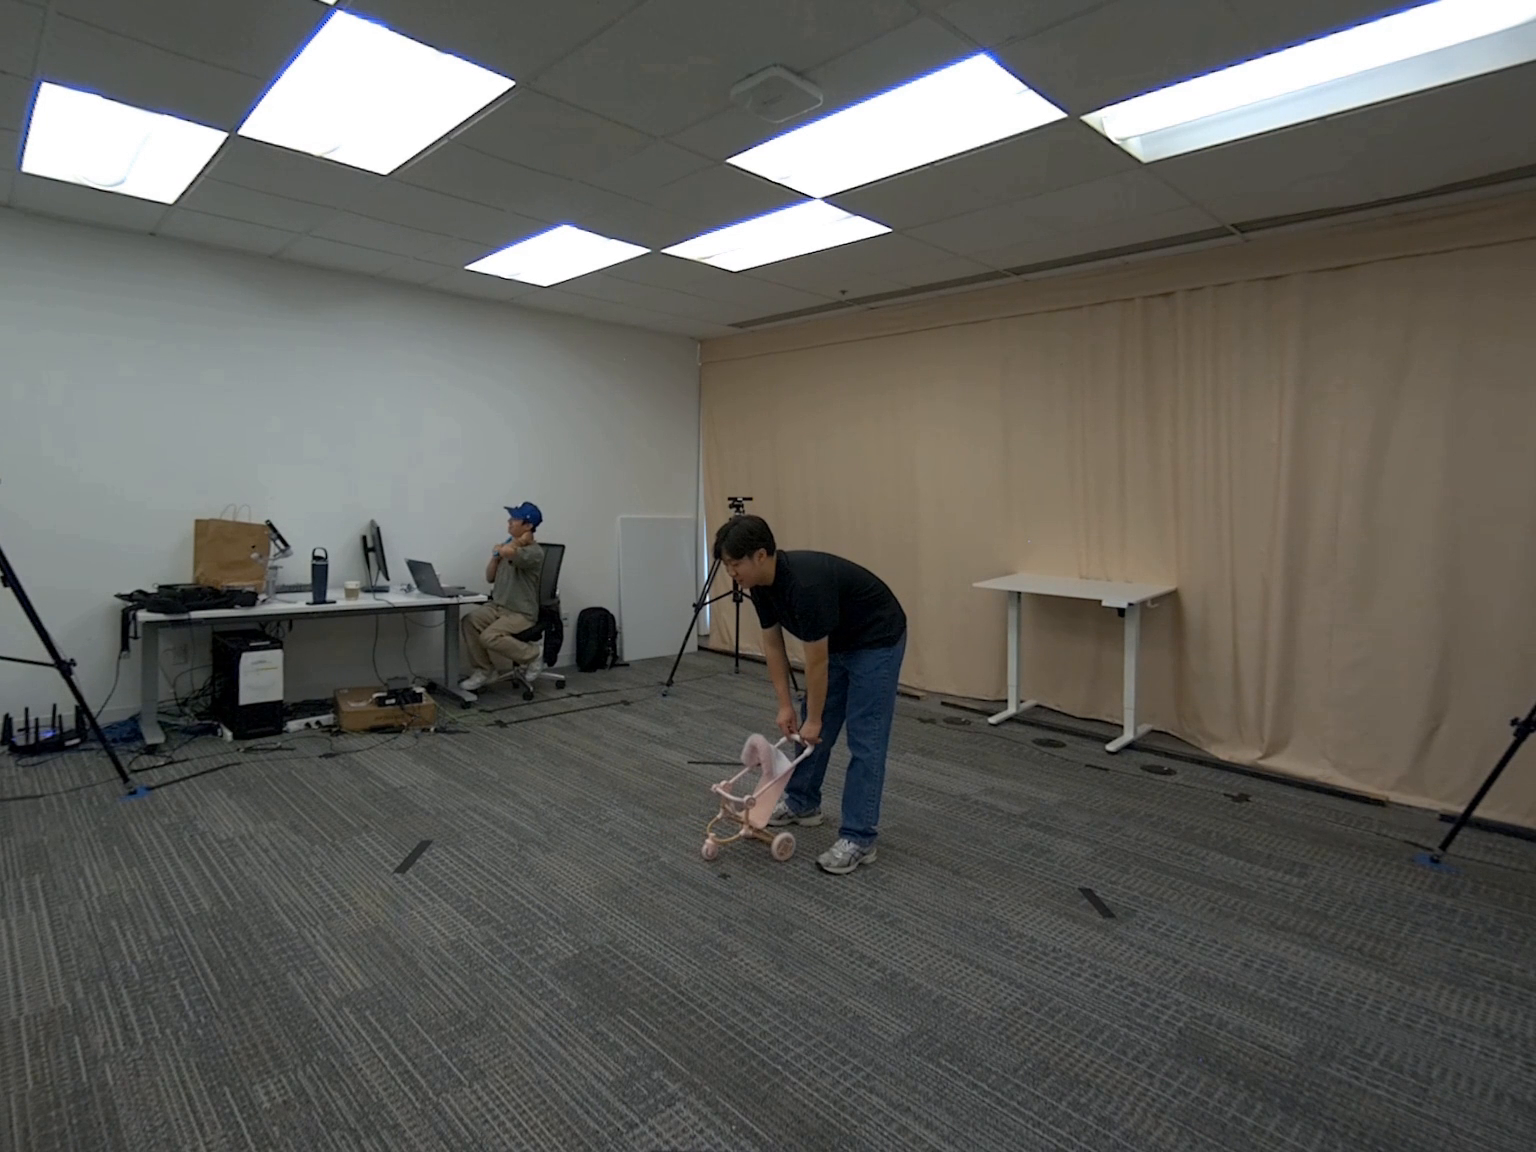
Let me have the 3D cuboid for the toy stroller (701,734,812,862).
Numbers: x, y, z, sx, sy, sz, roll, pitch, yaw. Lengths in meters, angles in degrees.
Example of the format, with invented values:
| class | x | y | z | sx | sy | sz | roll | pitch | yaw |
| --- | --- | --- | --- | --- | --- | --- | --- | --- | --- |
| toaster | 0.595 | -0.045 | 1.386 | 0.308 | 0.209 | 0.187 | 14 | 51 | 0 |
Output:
| class | x | y | z | sx | sy | sz | roll | pitch | yaw |
| --- | --- | --- | --- | --- | --- | --- | --- | --- | --- |
| toy stroller | -0.066 | 0.866 | 3.316 | 0.334 | 0.536 | 0.287 | 17 | -4 | -24 |
